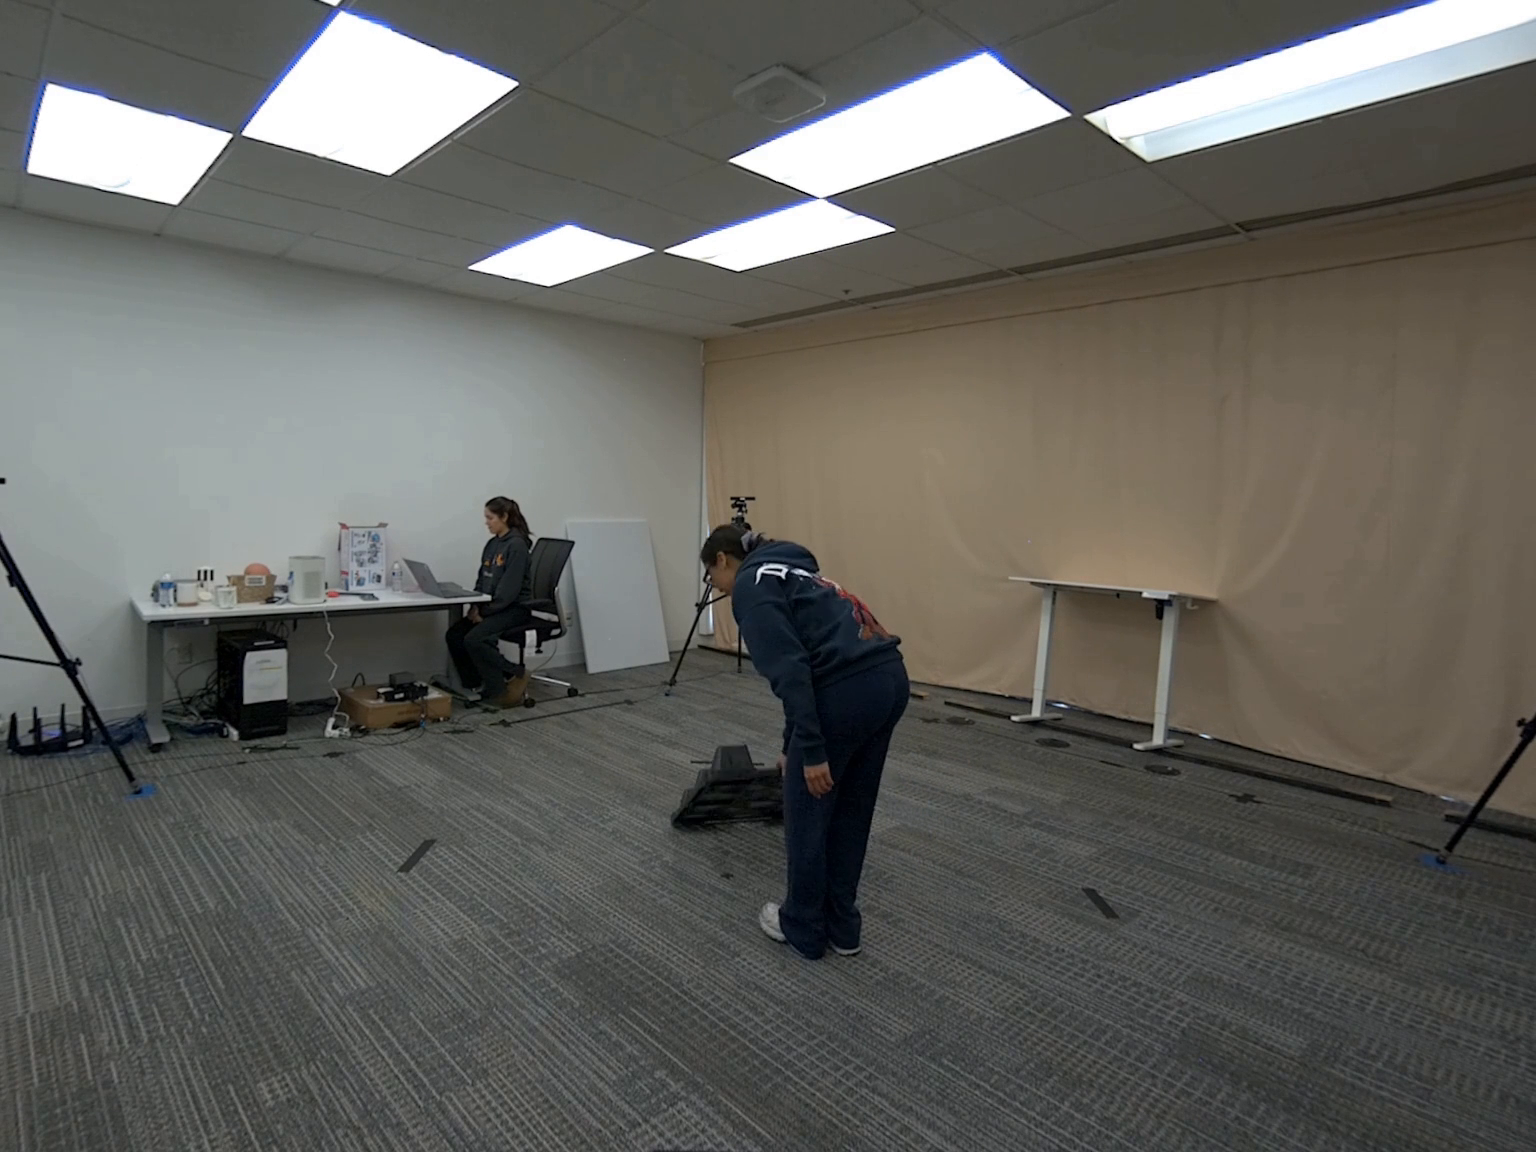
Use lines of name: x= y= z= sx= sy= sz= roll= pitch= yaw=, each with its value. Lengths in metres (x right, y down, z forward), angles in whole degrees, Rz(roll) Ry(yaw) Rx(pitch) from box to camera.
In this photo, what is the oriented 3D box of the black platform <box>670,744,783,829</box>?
black platform: x=-0.043 y=0.831 z=3.337 sx=0.598 sy=0.146 sz=0.799 roll=1 pitch=-27 yaw=-16
